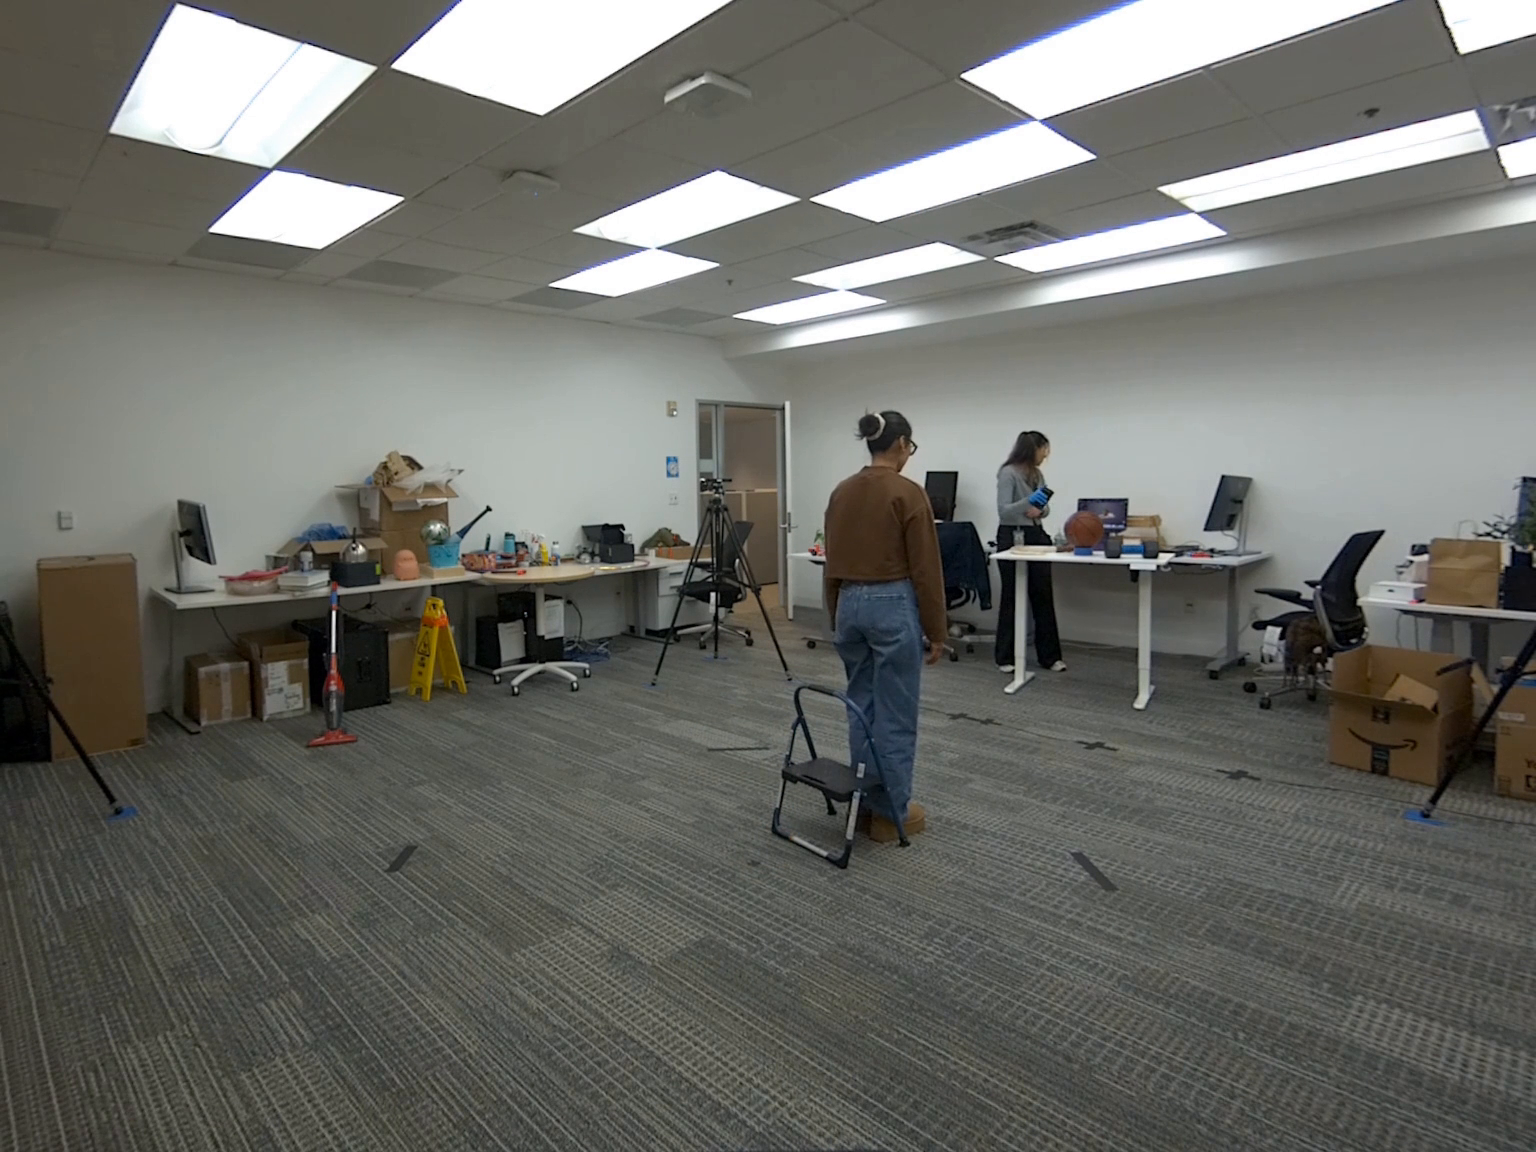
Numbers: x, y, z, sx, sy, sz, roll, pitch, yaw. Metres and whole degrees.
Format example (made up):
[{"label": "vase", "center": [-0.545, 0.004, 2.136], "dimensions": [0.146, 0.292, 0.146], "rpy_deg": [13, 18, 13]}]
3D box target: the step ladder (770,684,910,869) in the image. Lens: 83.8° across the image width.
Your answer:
[{"label": "step ladder", "center": [0.267, 0.716, 3.285], "dimensions": [0.340, 0.604, 0.444], "rpy_deg": [-5, 6, -38]}]
